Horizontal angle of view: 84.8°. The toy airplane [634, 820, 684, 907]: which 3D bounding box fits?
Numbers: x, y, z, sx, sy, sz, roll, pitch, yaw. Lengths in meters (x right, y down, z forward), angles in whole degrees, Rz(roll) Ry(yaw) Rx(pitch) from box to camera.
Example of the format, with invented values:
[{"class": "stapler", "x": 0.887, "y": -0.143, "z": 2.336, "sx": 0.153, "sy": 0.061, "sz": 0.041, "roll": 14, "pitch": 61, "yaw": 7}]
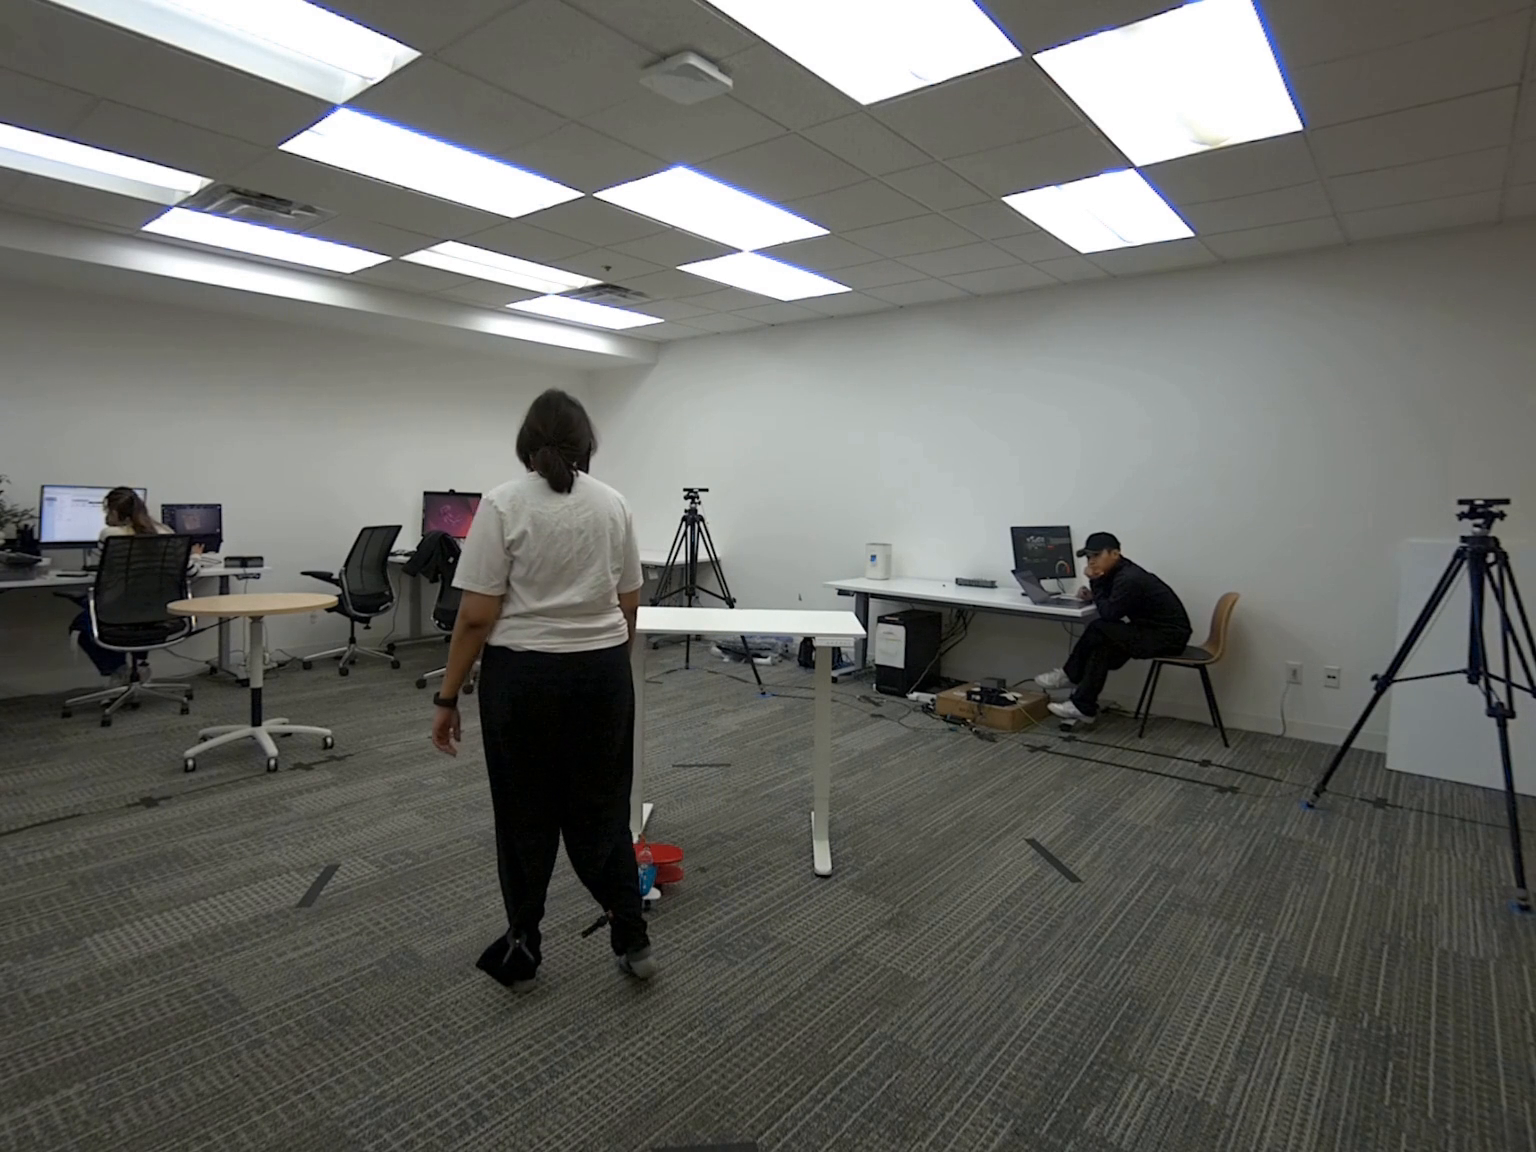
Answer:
[{"class": "toy airplane", "x": -0.402, "y": 1.010, "z": 2.888, "sx": 0.244, "sy": 0.156, "sz": 0.267, "roll": -1, "pitch": 4, "yaw": -30}]
